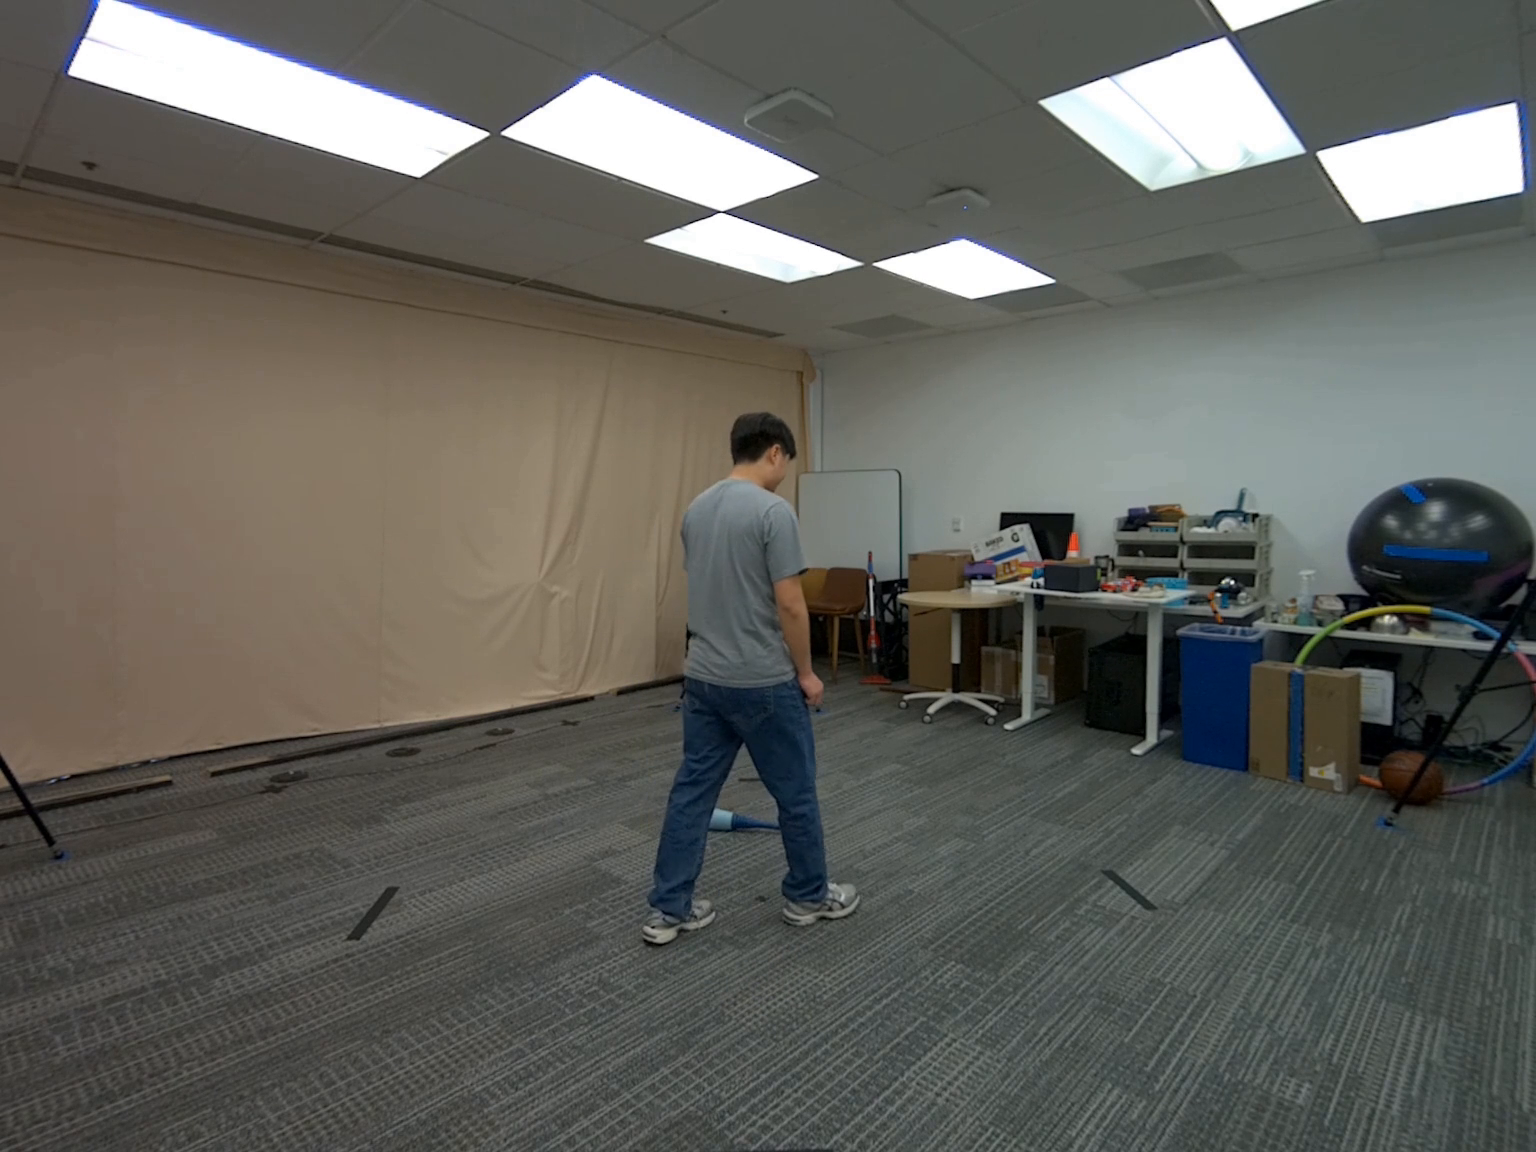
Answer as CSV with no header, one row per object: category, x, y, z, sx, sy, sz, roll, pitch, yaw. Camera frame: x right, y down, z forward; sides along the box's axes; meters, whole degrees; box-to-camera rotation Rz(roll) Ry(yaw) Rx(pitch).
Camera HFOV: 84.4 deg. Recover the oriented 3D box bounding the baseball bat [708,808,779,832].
baseball bat,-0.132,1.054,3.613,0.549,0.089,0.088,3,4,9
